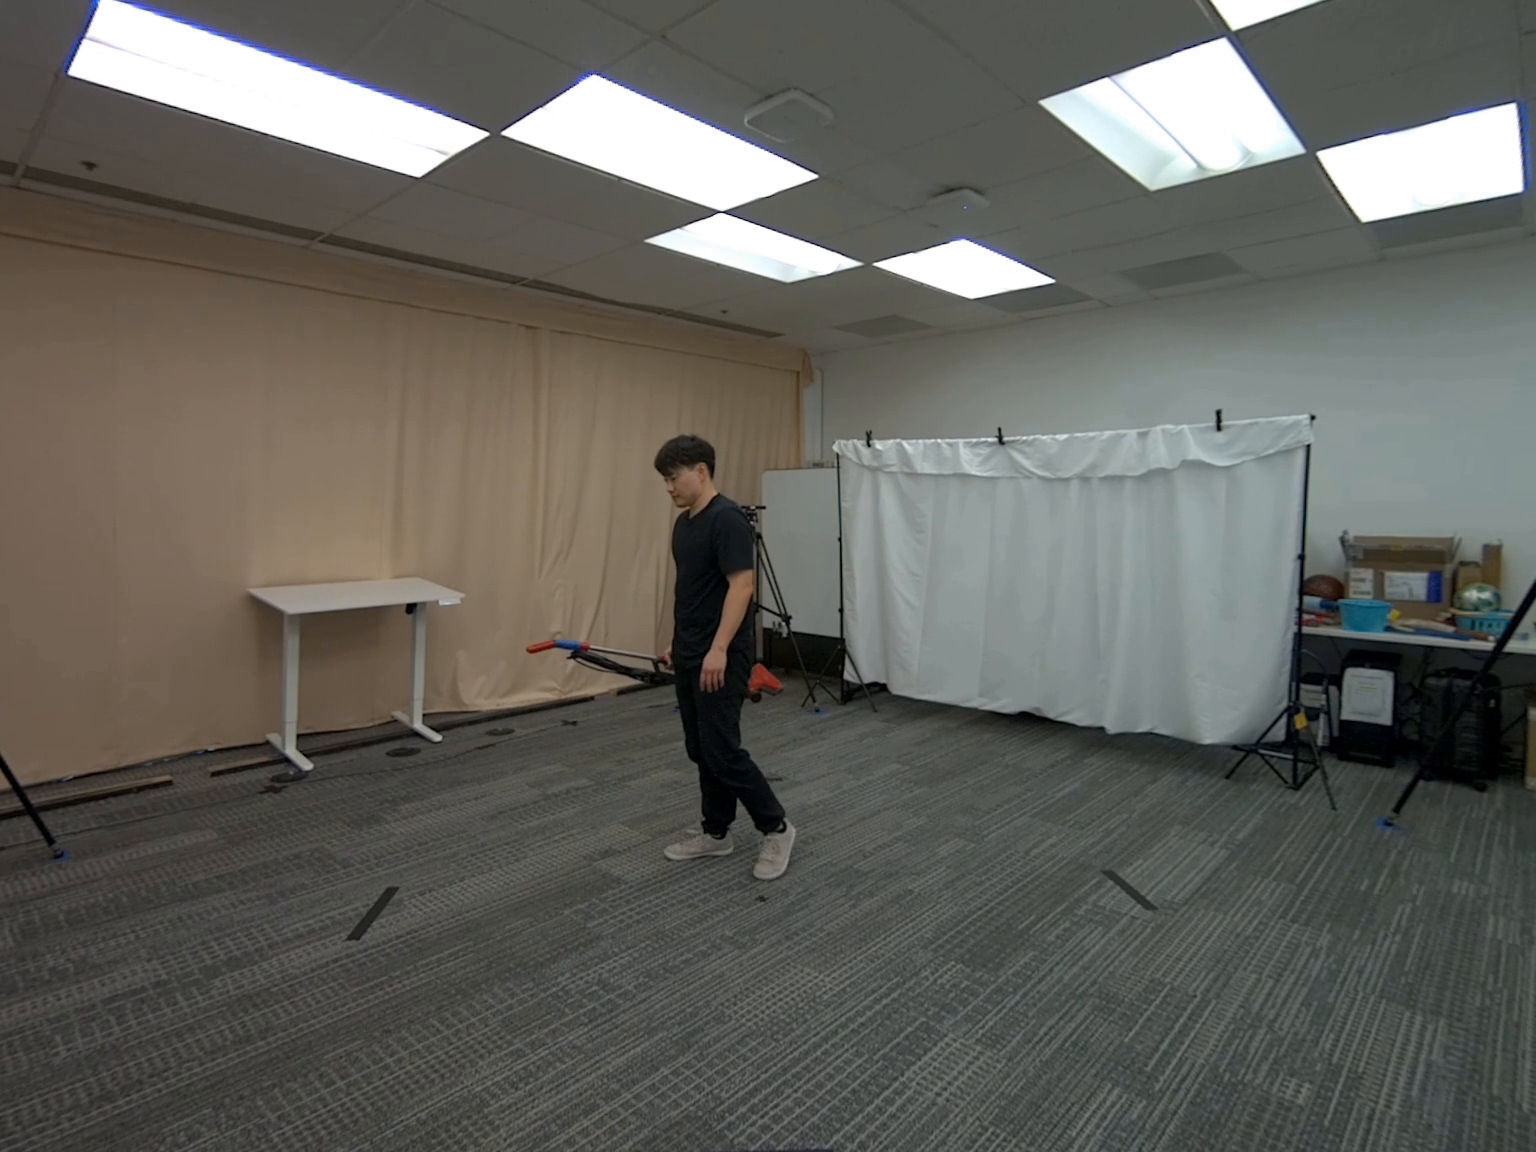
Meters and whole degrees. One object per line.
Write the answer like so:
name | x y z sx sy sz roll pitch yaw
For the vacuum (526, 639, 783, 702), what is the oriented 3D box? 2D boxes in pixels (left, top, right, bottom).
vacuum | -0.466 0.386 3.468 1.021 0.143 0.260 13 15 -26
